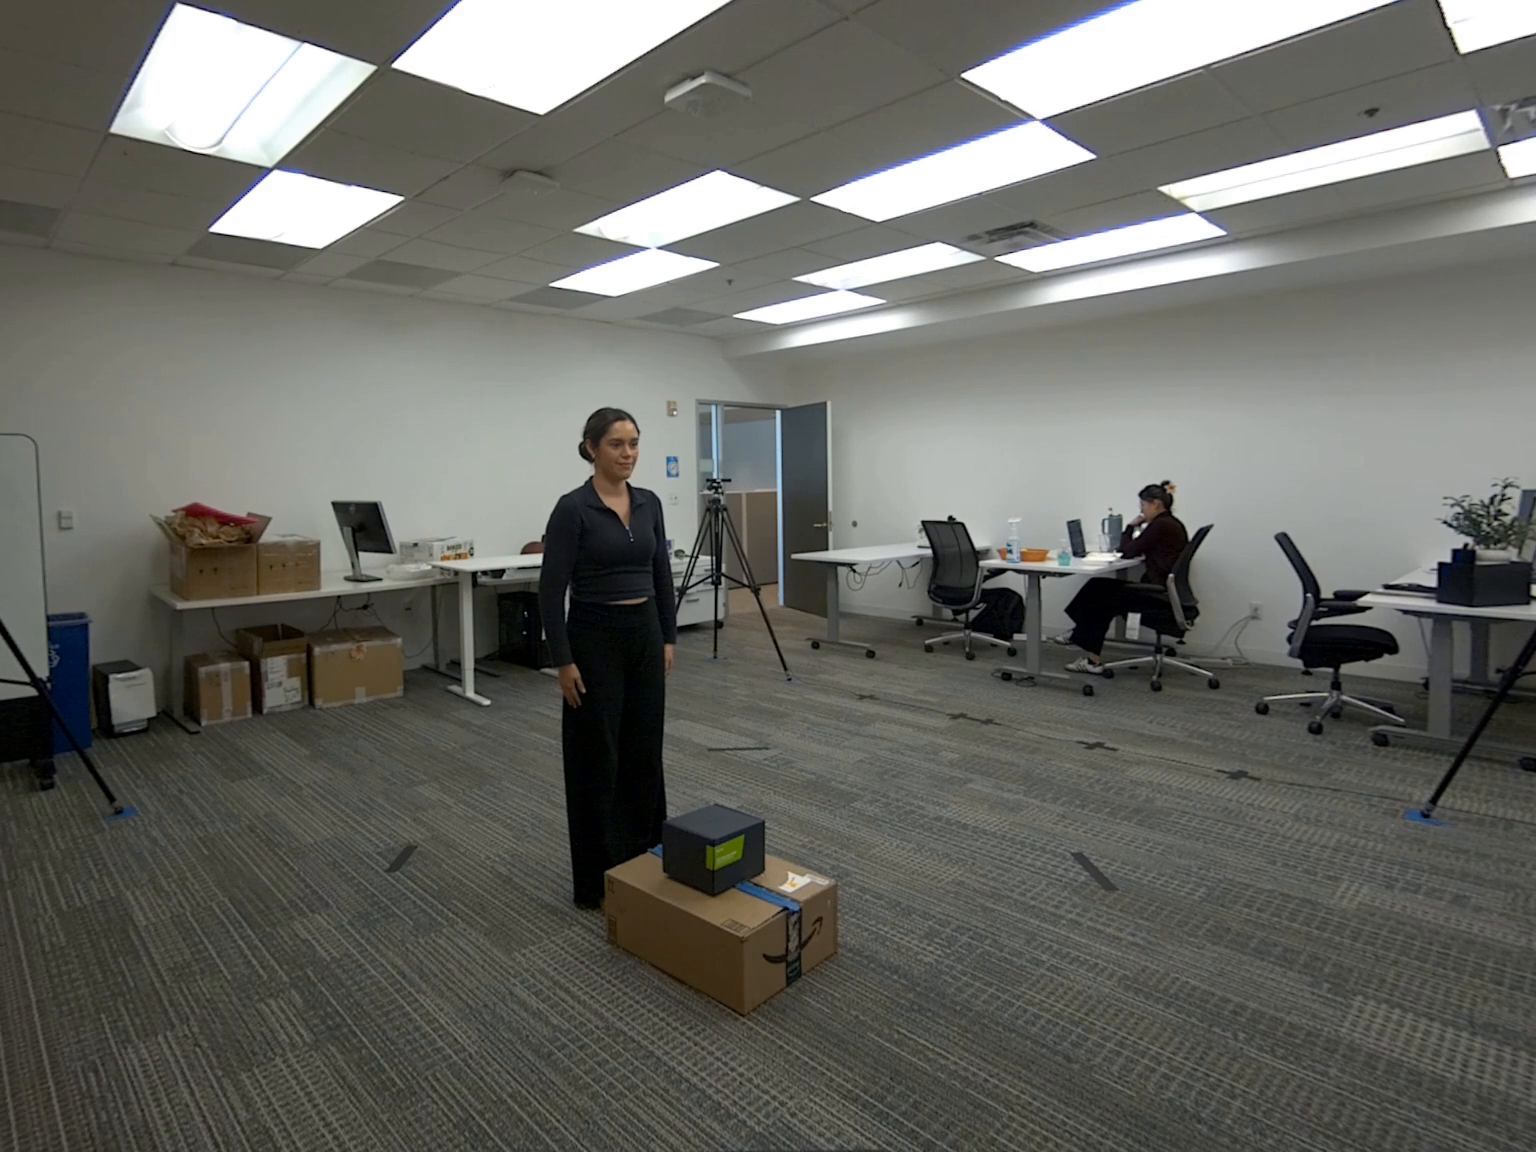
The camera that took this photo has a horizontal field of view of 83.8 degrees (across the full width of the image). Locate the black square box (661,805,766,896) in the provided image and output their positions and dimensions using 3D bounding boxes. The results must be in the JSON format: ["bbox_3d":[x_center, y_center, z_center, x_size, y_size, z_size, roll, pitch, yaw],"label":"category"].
[{"bbox_3d":[-0.168,0.808,2.560,0.223,0.155,0.222,3,5,41],"label":"black square box"}]
